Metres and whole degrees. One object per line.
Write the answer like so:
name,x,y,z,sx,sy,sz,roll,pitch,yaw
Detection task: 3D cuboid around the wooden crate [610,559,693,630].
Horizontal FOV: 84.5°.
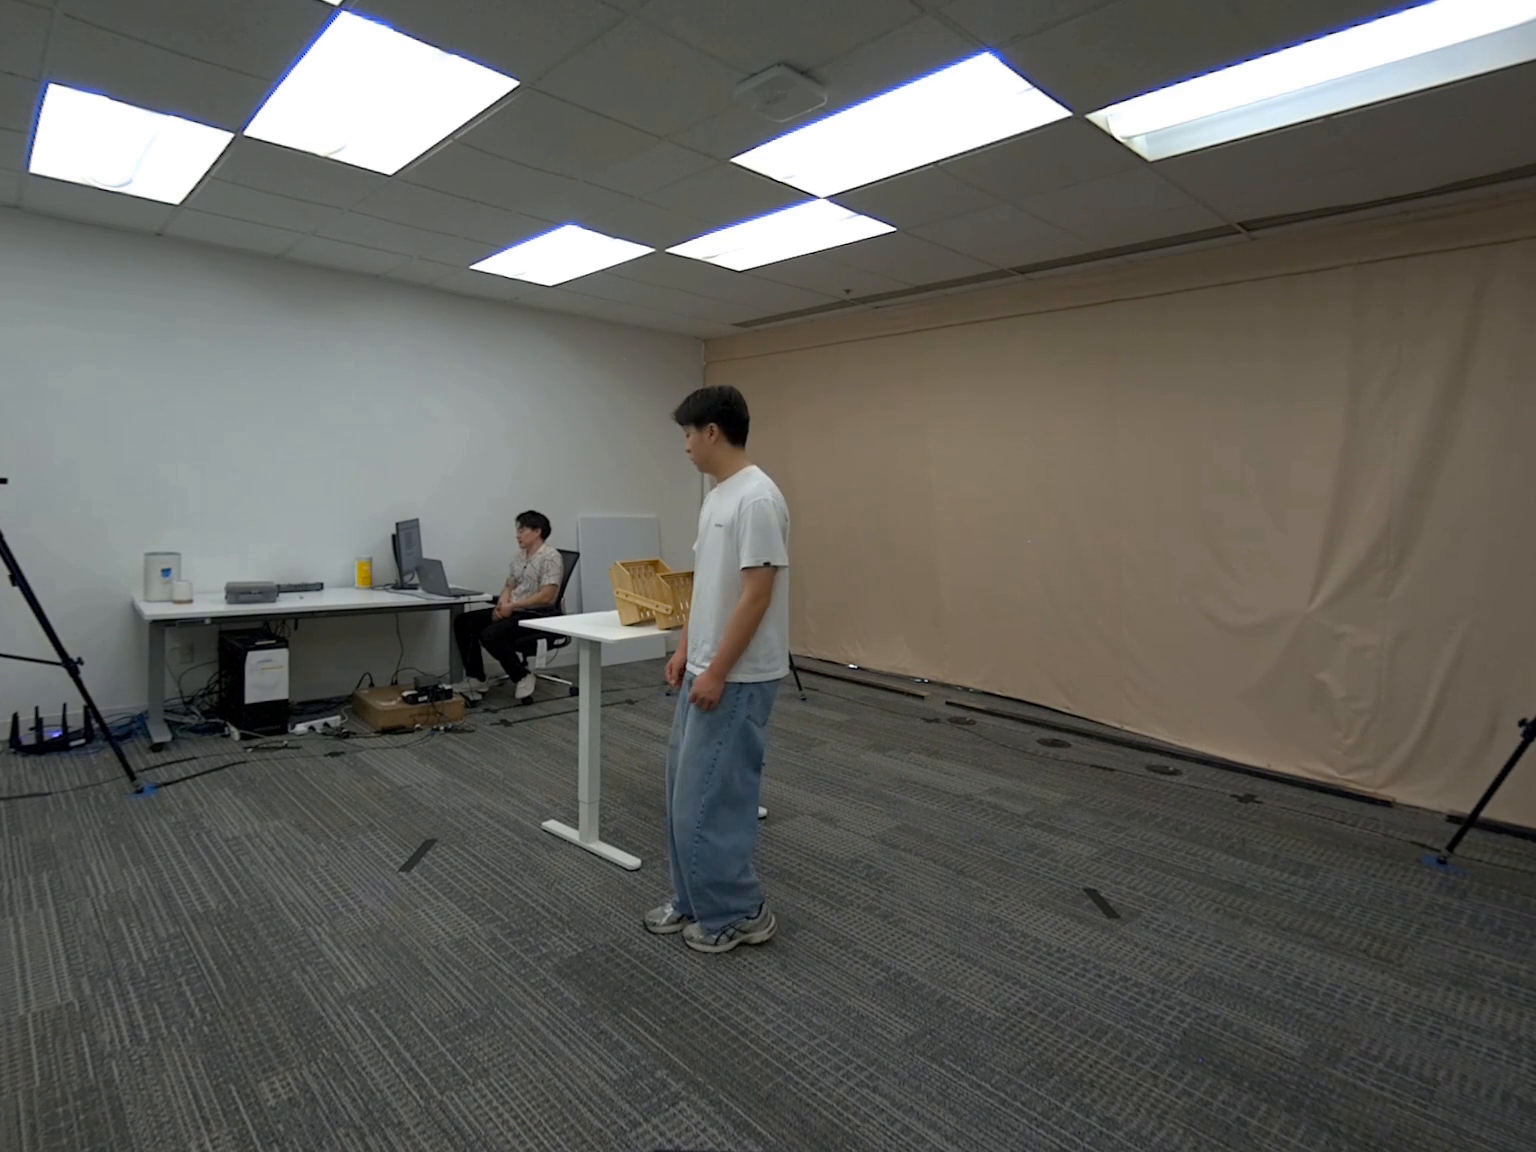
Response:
wooden crate,-0.424,0.058,3.388,0.277,0.303,0.319,-15,-4,27
